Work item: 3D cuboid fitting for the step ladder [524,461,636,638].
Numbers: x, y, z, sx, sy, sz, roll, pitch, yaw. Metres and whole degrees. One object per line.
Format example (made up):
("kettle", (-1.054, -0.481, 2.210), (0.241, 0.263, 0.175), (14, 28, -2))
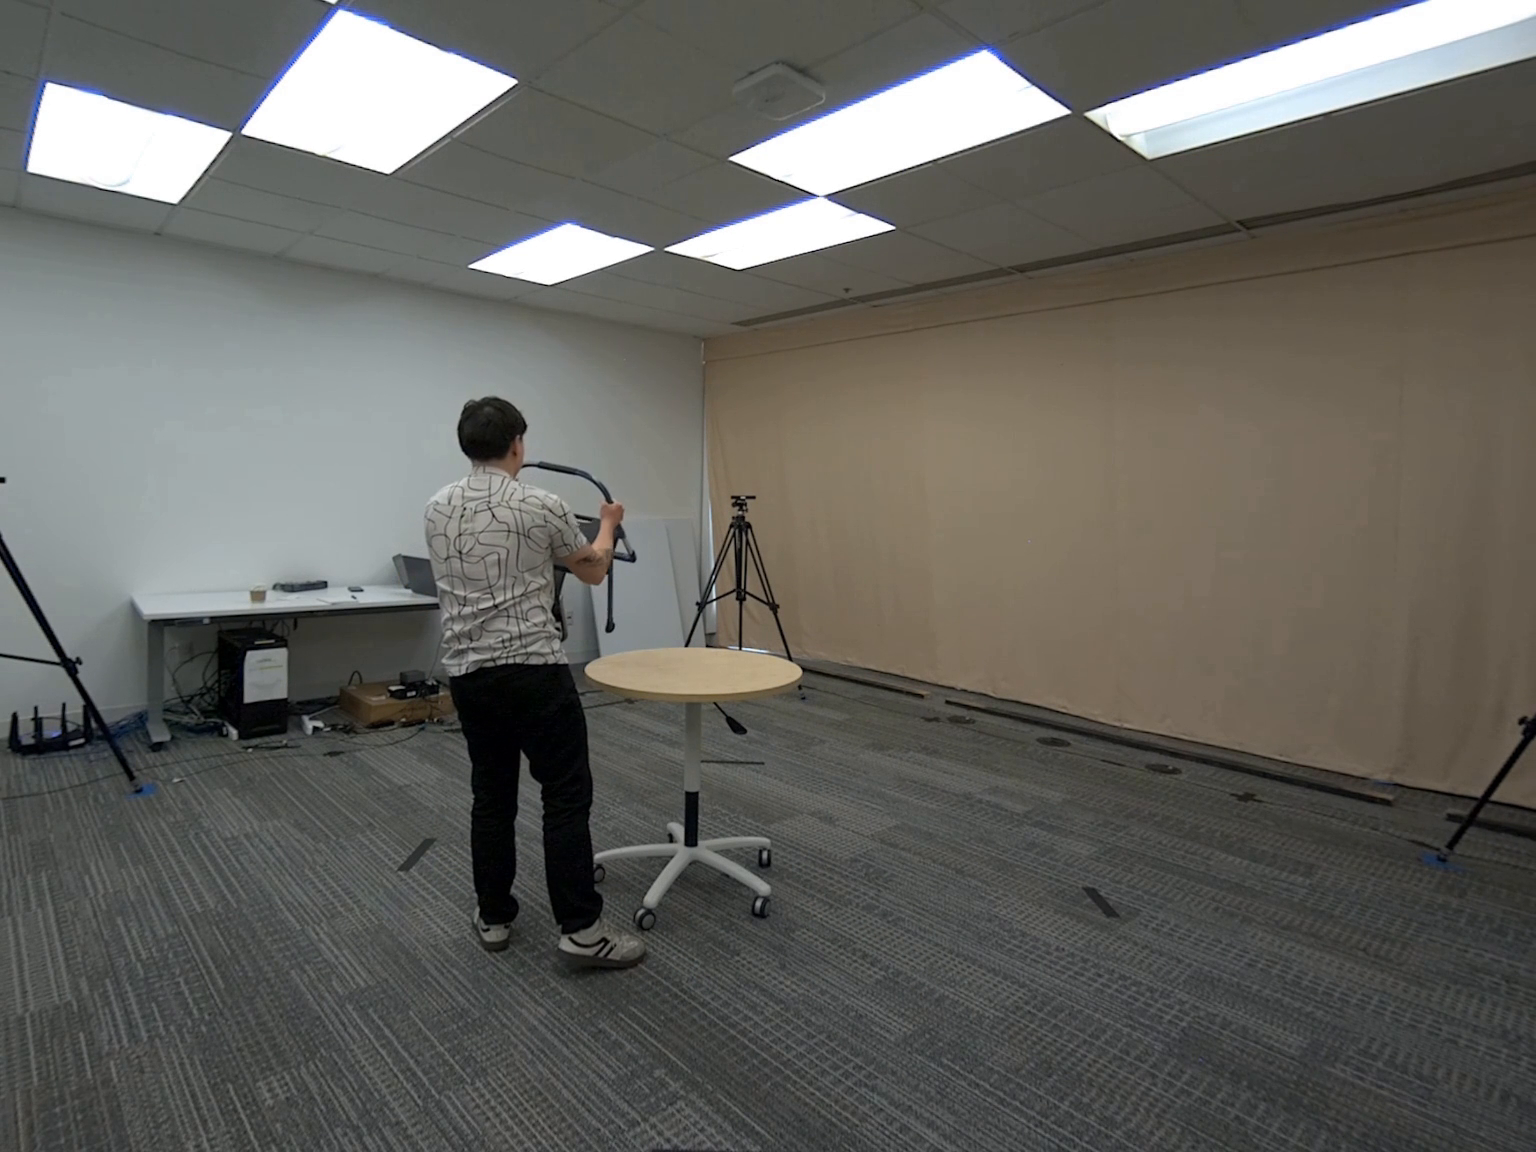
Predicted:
("step ladder", (-0.735, -0.139, 3.041), (0.432, 0.354, 0.595), (12, -35, 4))
